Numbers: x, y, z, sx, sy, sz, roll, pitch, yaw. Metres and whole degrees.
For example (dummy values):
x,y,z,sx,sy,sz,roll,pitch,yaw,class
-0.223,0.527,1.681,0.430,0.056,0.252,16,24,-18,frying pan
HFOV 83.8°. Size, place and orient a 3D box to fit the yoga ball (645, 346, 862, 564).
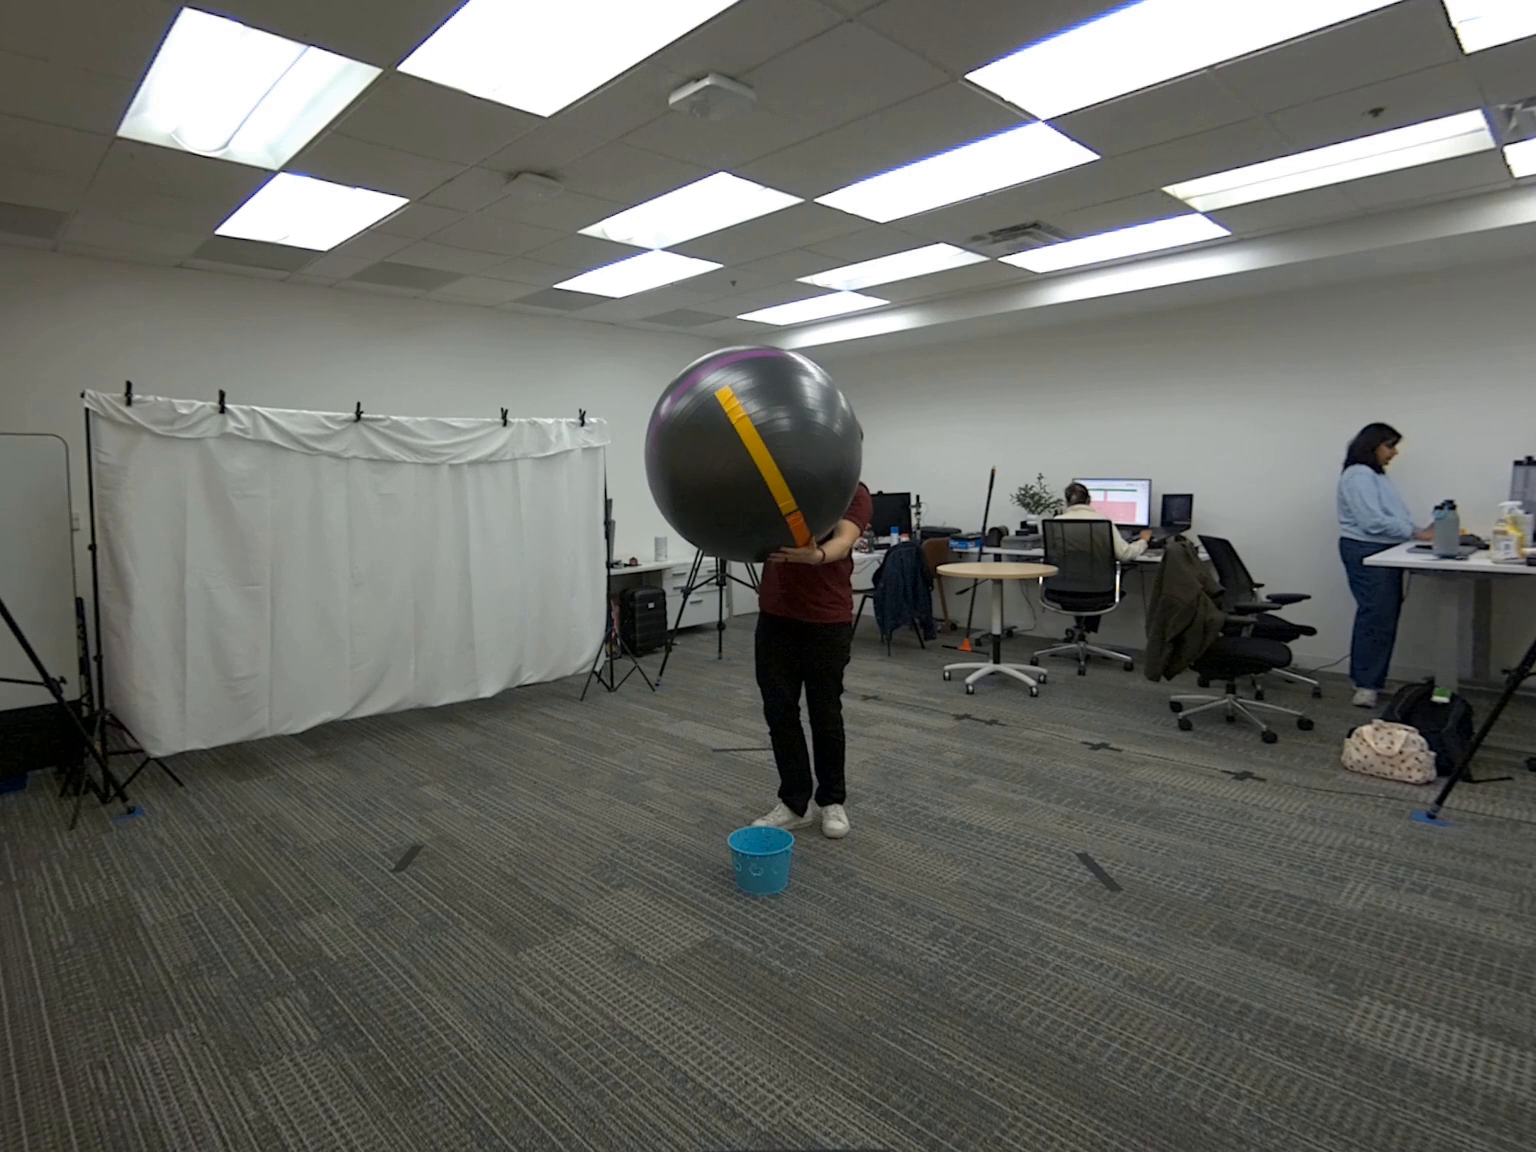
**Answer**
x,y,z,sx,sy,sz,roll,pitch,yaw,class
-0.056,-0.415,2.991,0.757,0.755,0.762,-1,5,-2,yoga ball
